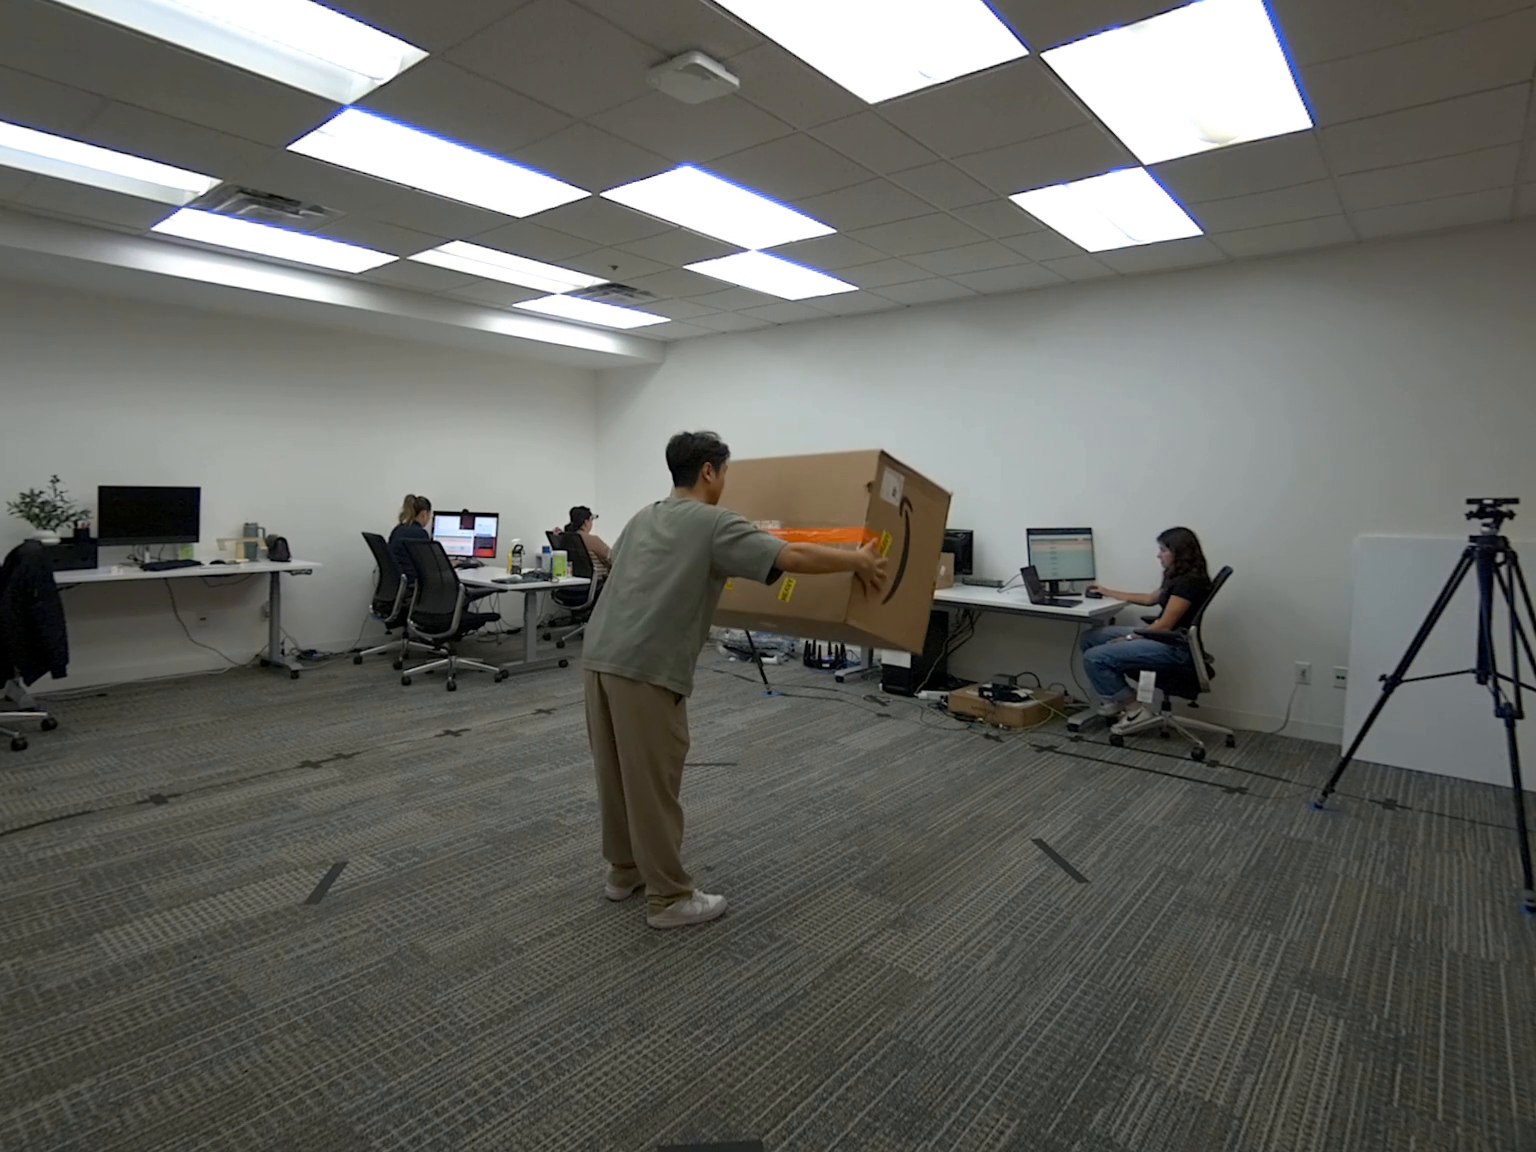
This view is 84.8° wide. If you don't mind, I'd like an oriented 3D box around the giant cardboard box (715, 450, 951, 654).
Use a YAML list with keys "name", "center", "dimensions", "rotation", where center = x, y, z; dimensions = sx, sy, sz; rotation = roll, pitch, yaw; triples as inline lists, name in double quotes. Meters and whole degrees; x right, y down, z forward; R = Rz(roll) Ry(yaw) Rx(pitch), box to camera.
- name: "giant cardboard box"
  center: [0.065, -0.092, 3.128]
  dimensions: [0.409, 0.582, 1.060]
  rotation: [24, -14, -41]
